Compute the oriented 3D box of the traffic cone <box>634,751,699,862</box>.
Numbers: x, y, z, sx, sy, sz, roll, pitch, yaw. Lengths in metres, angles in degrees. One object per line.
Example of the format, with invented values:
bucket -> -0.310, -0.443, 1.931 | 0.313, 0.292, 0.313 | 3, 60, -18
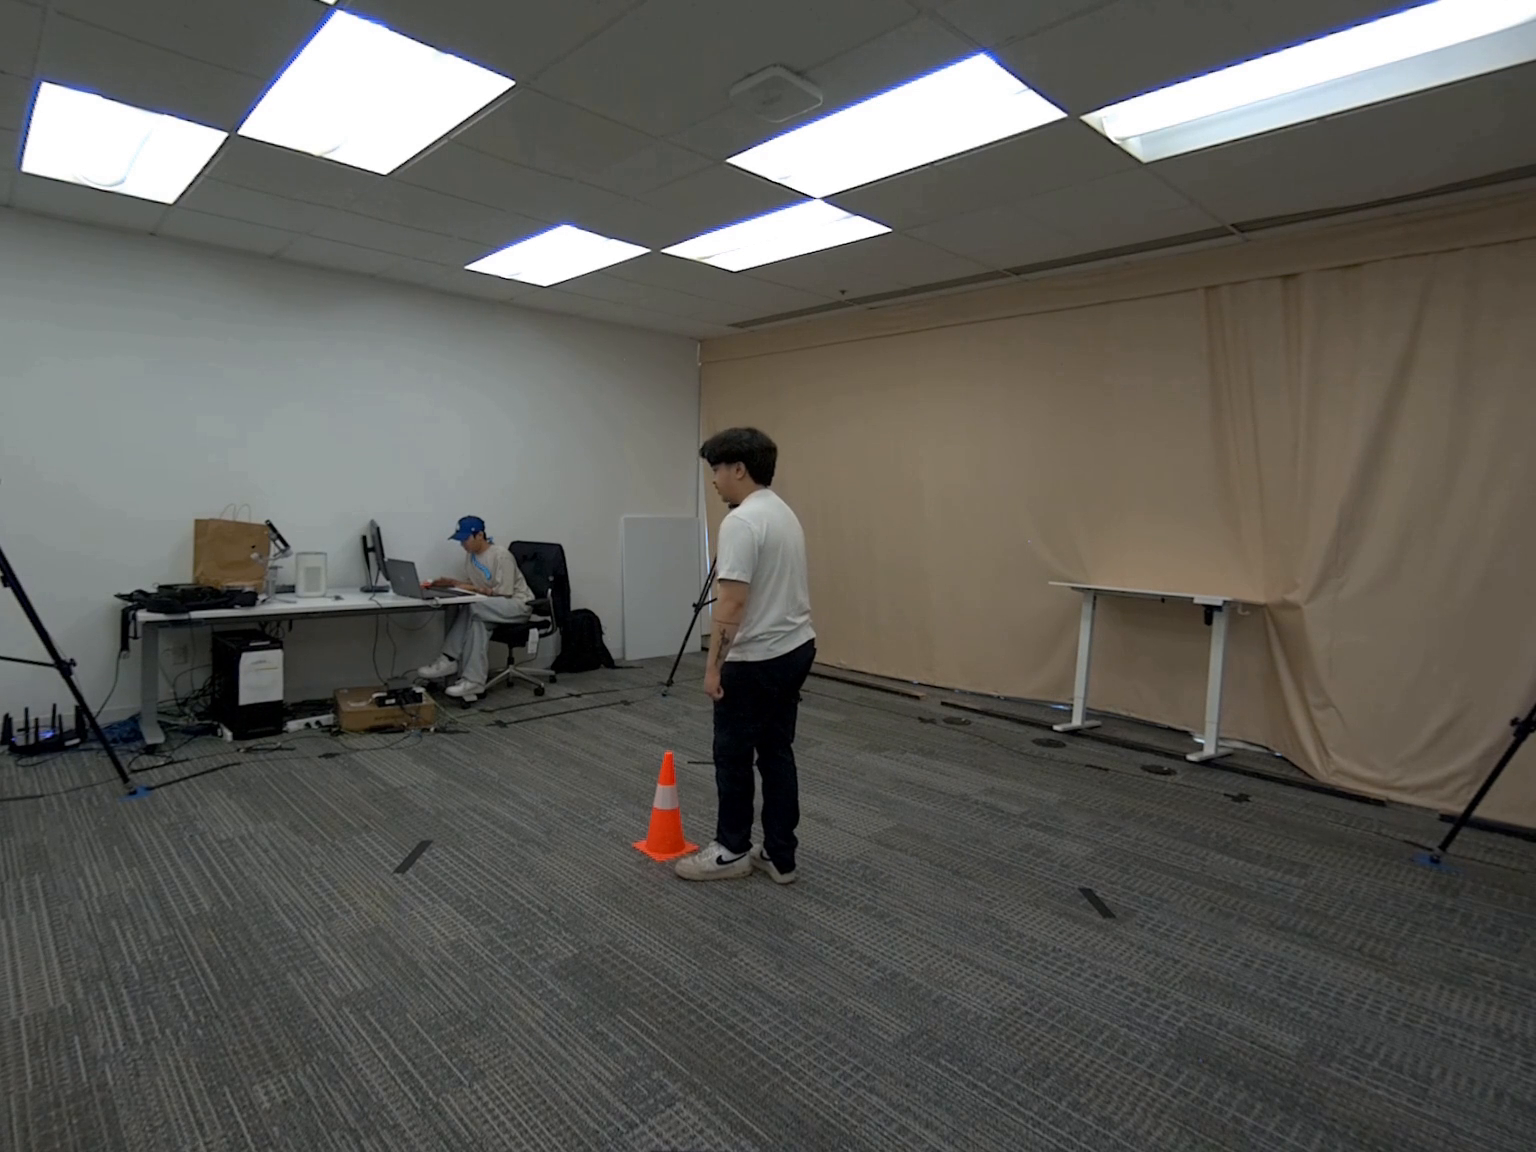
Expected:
traffic cone -> -0.414, 0.891, 3.341 | 0.199, 0.383, 0.210 | -1, 5, -38
